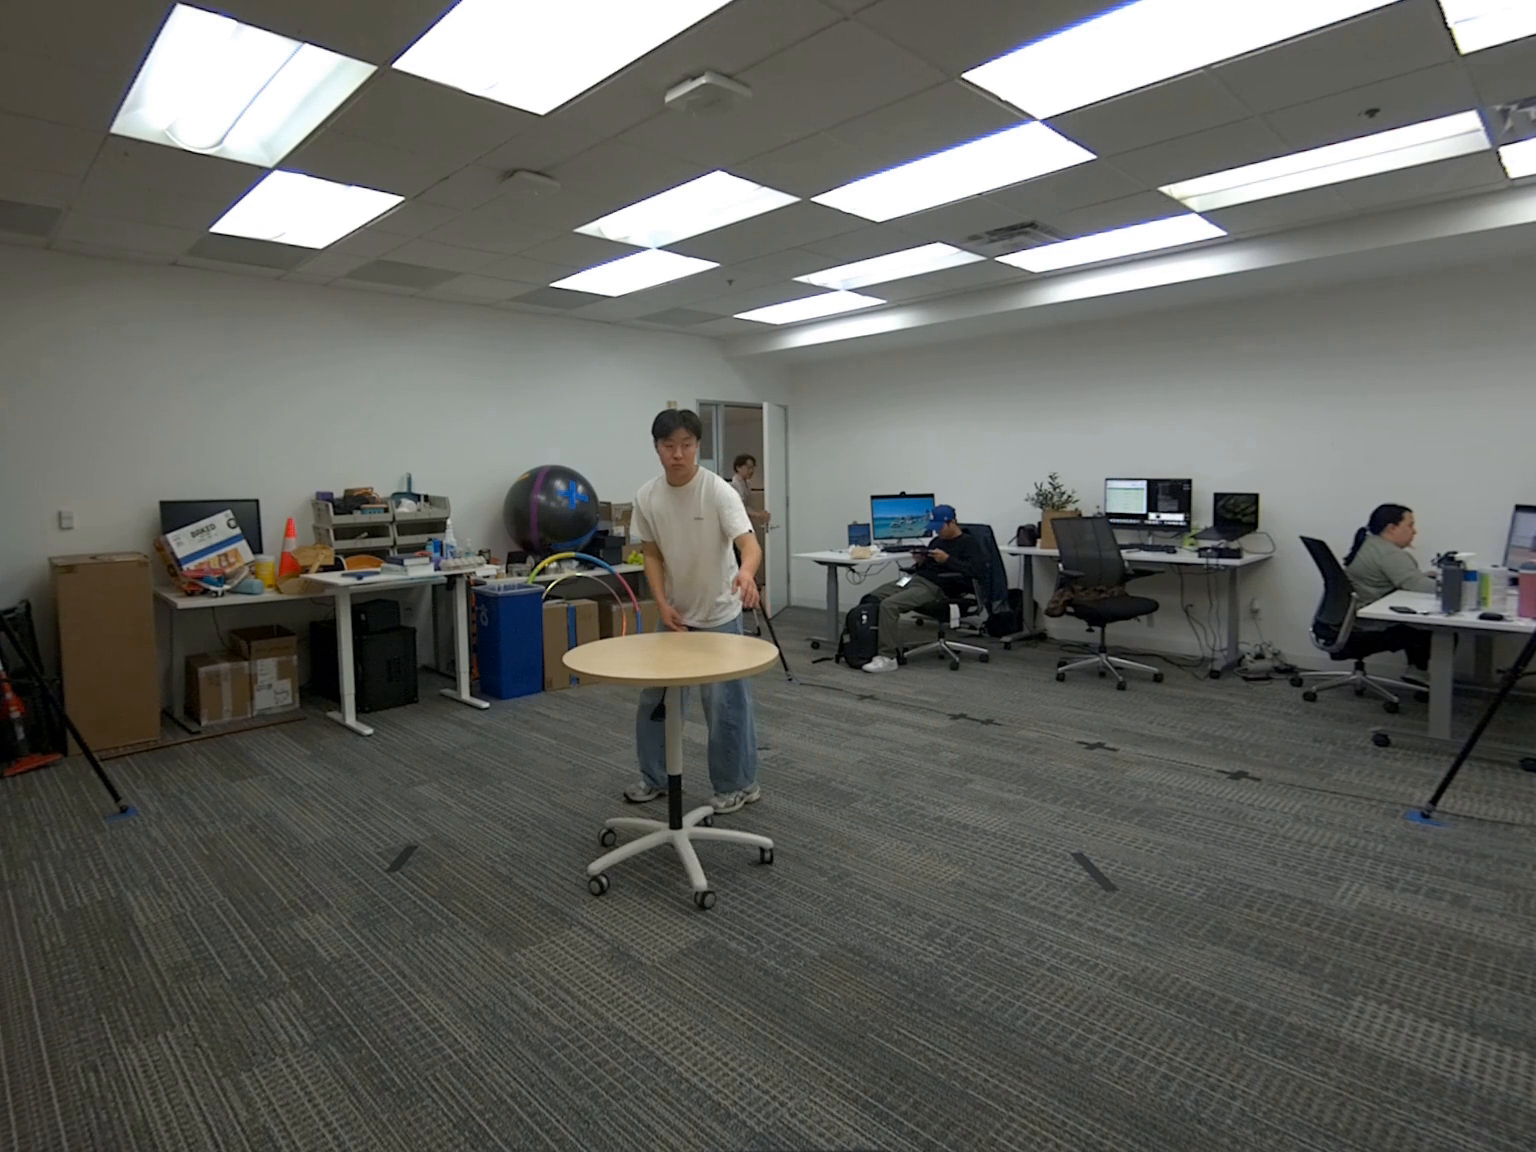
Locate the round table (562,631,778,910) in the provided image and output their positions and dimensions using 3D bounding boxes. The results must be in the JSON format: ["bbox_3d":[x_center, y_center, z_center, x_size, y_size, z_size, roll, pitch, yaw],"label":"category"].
[{"bbox_3d":[-0.352,0.662,3.071,0.784,0.783,0.789,-1,5,-2],"label":"round table"}]
